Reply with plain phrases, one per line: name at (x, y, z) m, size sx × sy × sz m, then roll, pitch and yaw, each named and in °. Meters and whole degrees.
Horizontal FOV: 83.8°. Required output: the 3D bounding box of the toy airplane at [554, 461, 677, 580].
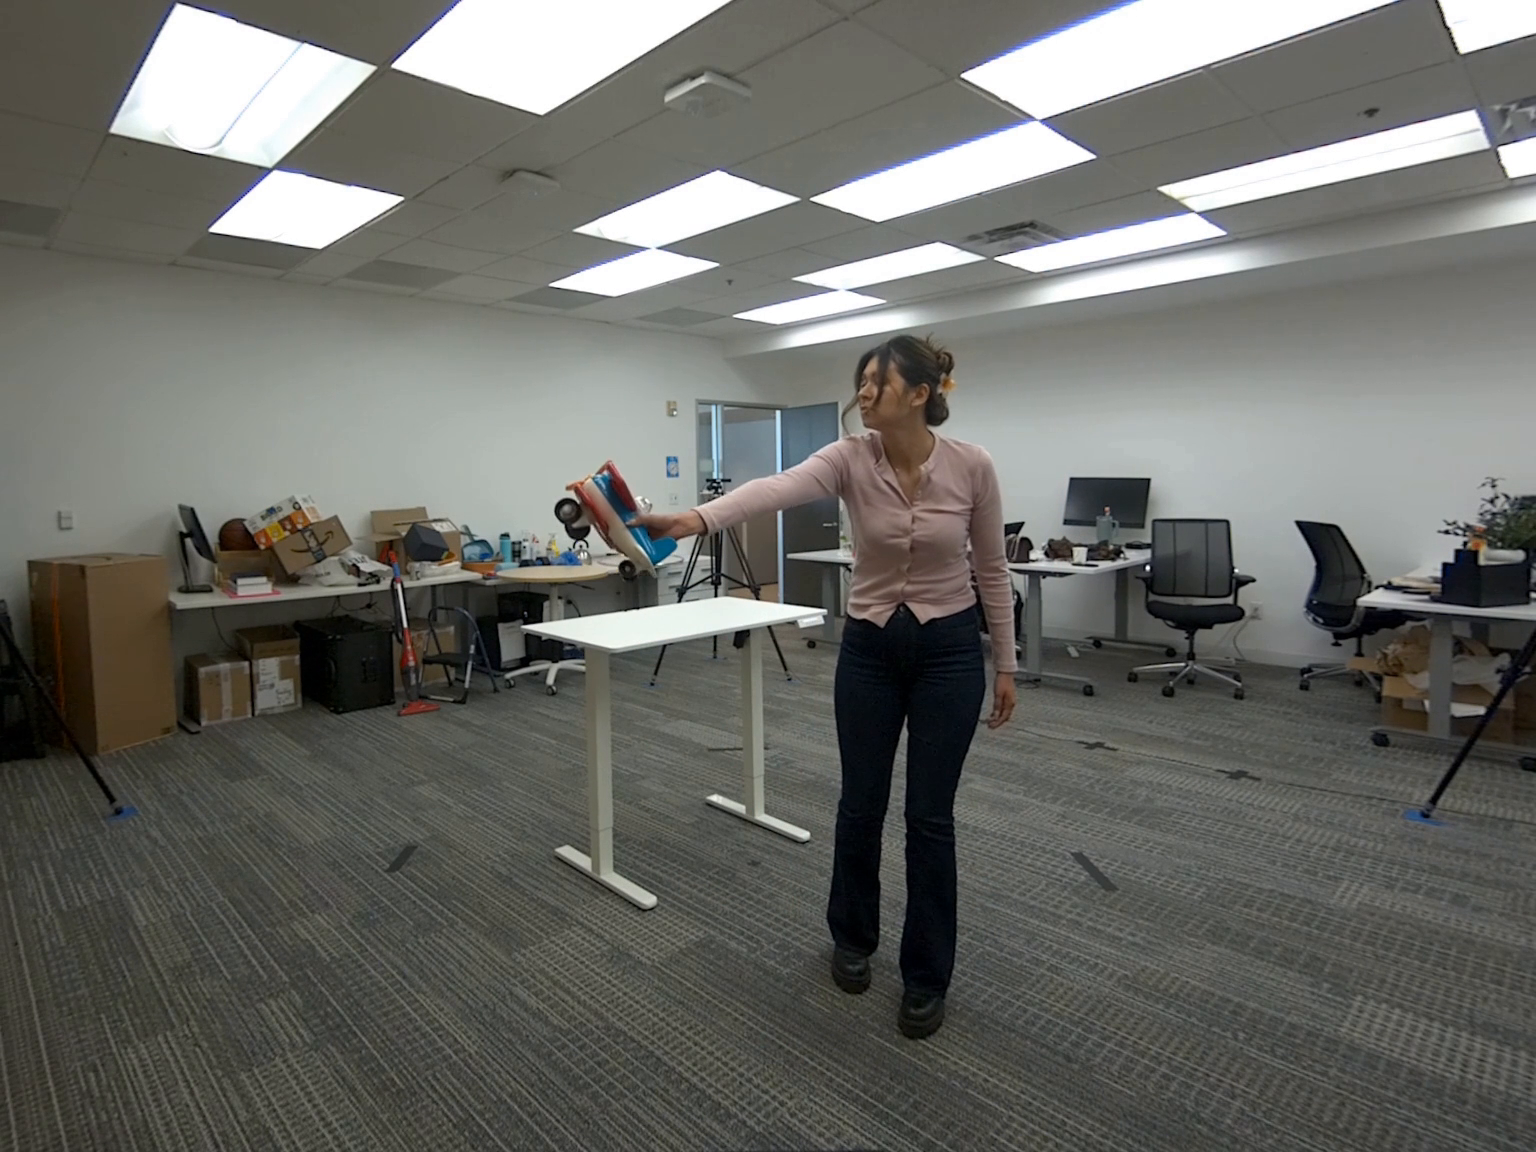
toy airplane at (-0.311, -0.101, 1.824) m, size 0.156 × 0.256 × 0.254 m, roll -48°, pitch 10°, yaw -13°
